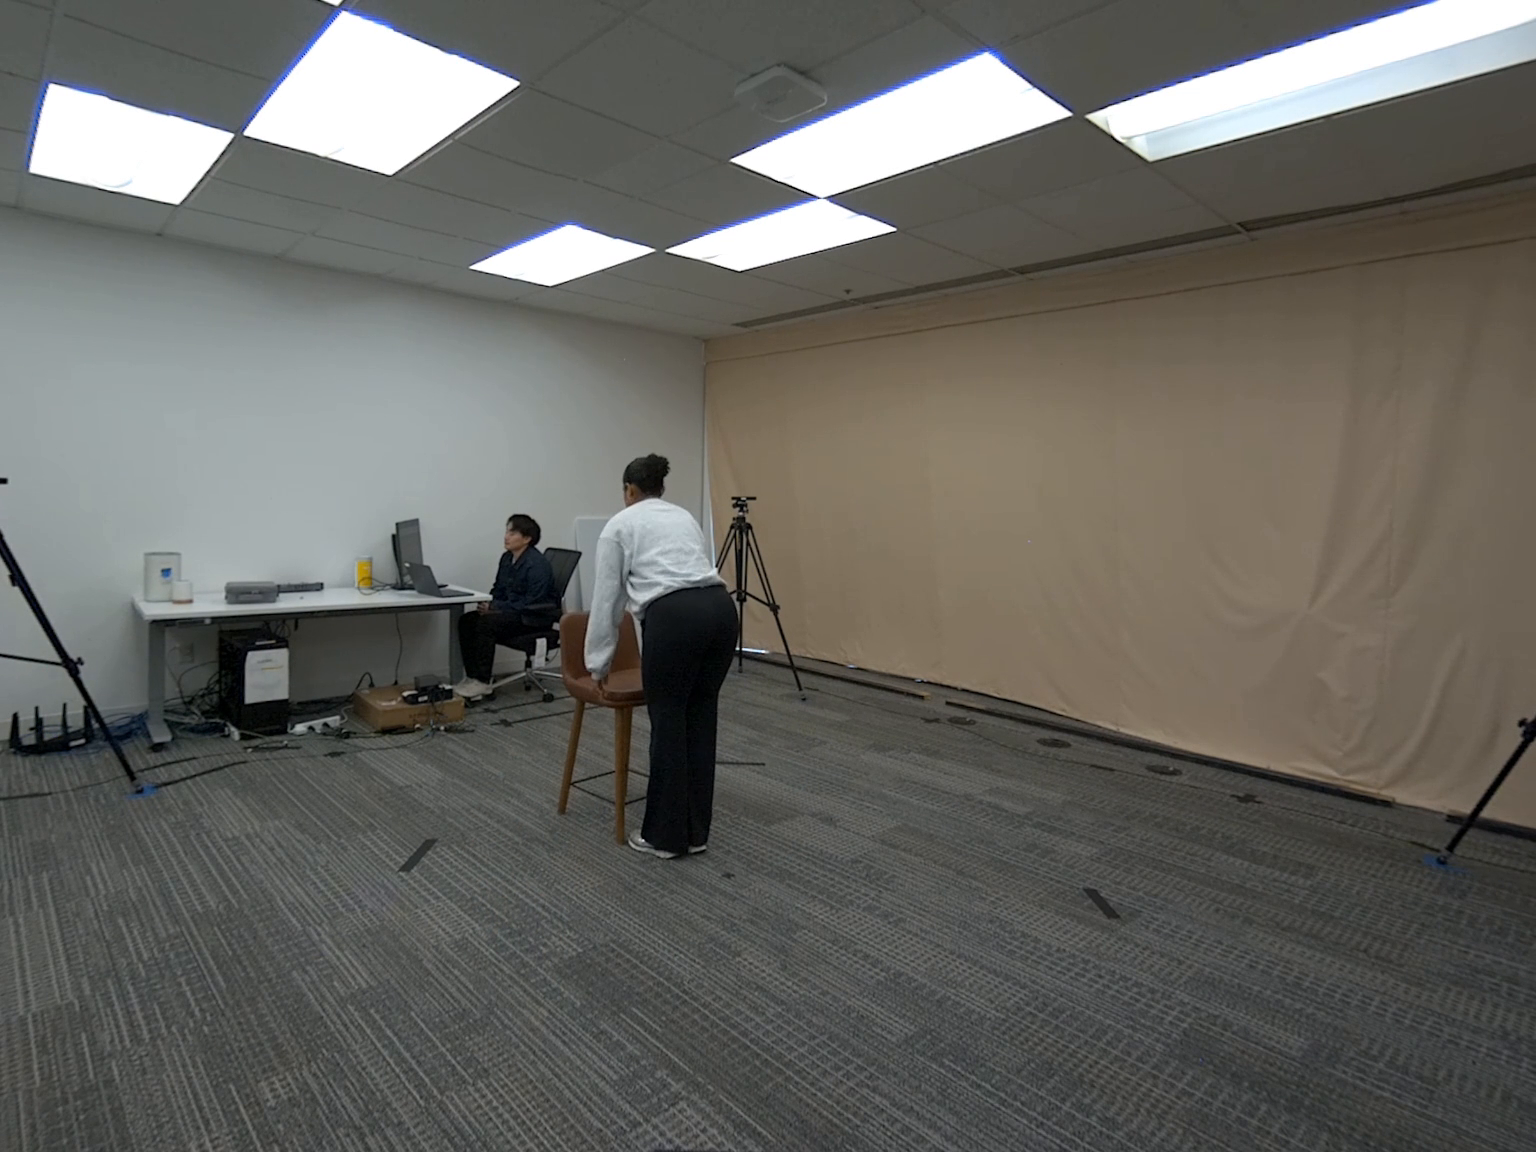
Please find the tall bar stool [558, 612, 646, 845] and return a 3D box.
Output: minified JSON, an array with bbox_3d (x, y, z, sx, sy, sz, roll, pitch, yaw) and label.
[{"bbox_3d":[-0.628,0.606,3.637,0.479,0.889,0.446,2,2,42],"label":"tall bar stool"}]
